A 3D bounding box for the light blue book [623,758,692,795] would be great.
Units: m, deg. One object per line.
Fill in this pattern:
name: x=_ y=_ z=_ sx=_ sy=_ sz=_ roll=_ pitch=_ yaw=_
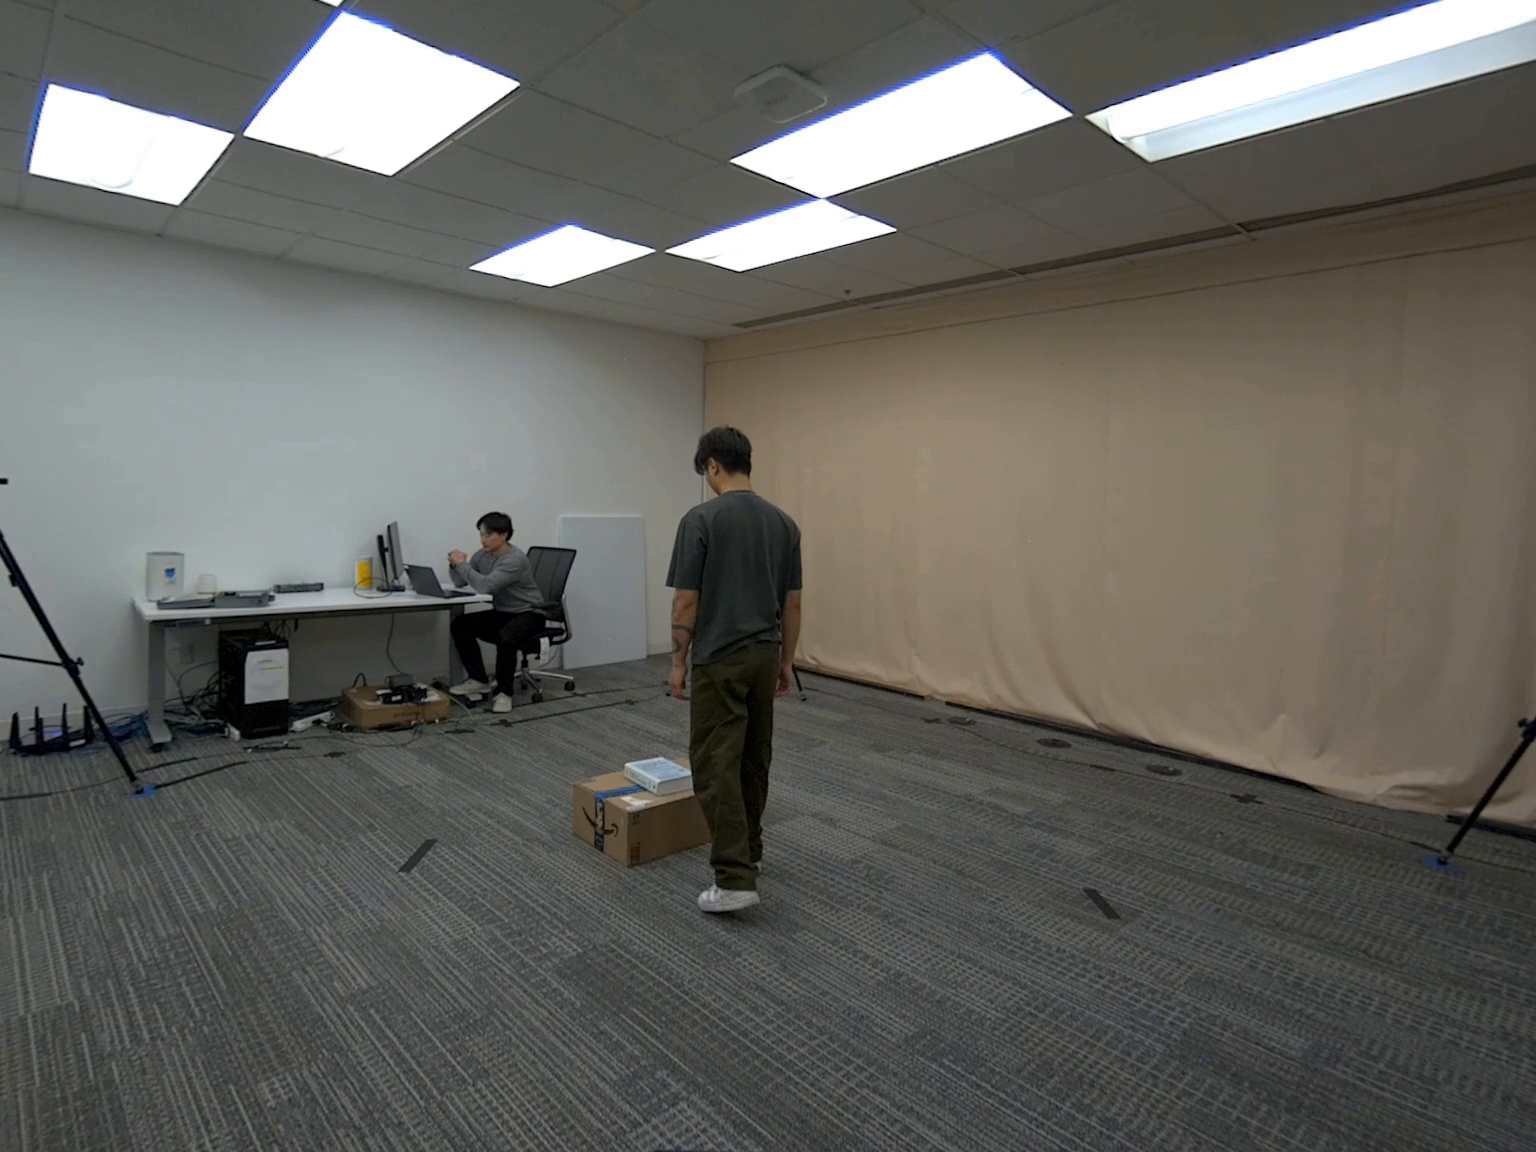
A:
light blue book: x=-0.460 y=0.827 z=3.493 sx=0.187 sy=0.059 sz=0.268 roll=-1 pitch=6 yaw=-39
